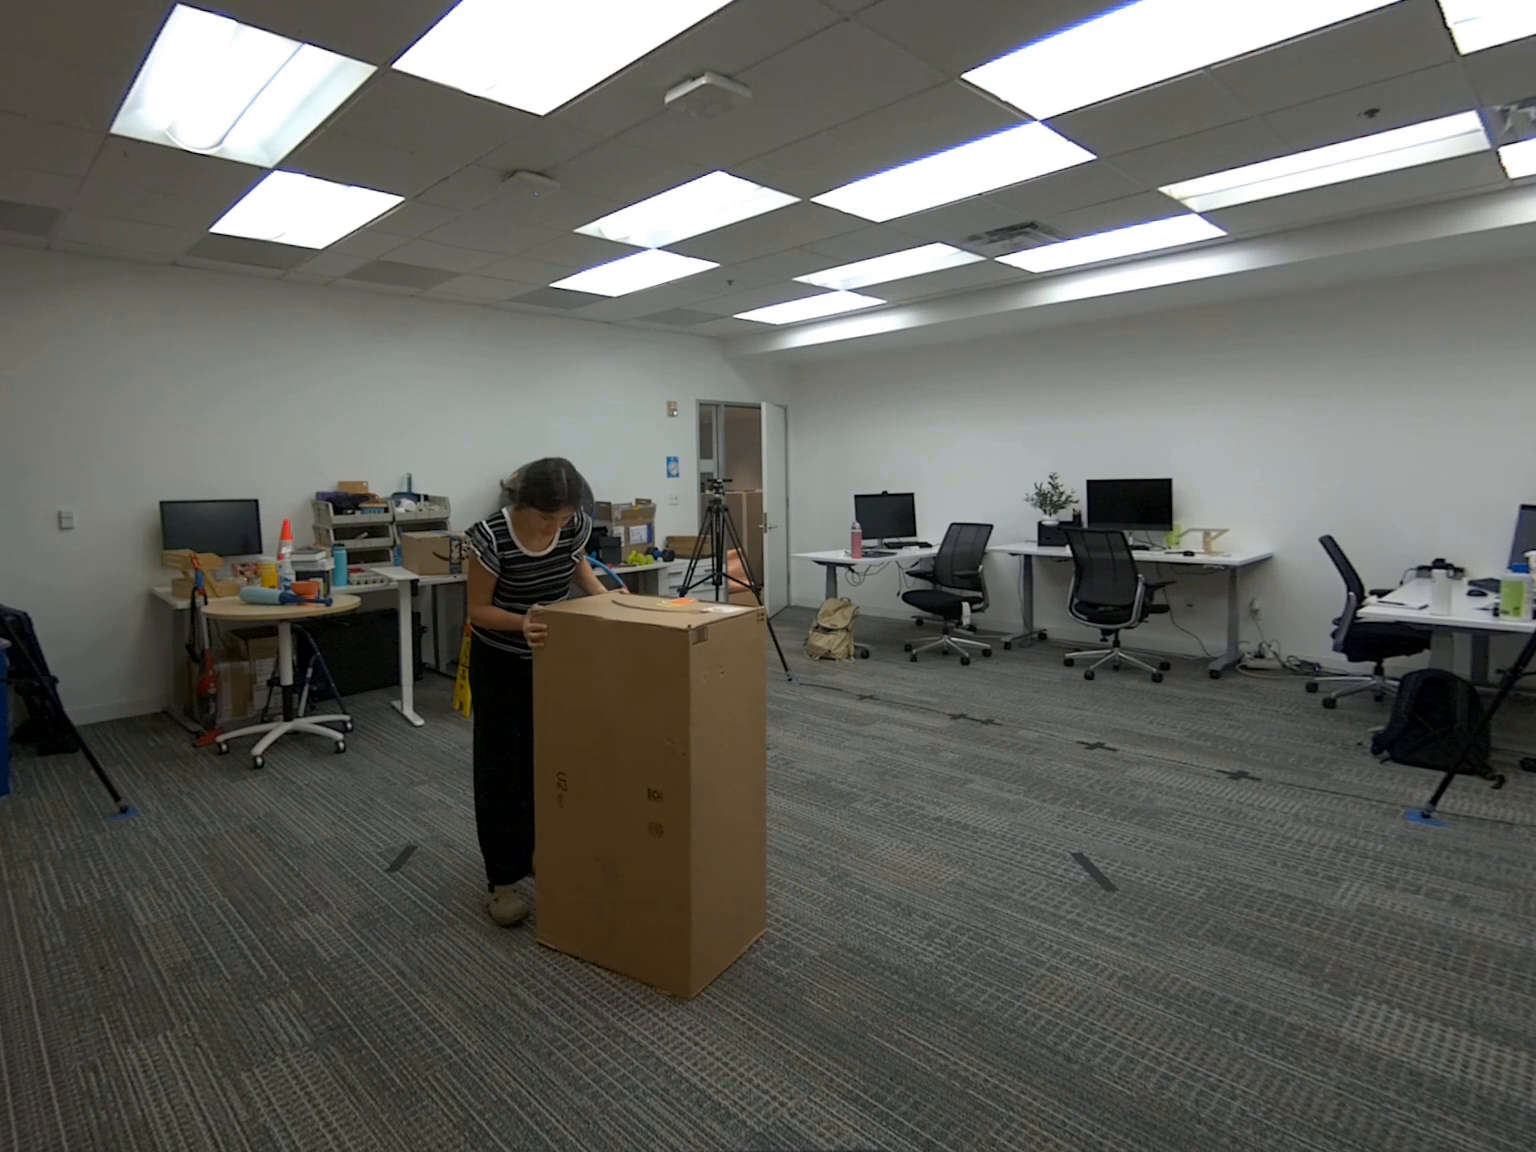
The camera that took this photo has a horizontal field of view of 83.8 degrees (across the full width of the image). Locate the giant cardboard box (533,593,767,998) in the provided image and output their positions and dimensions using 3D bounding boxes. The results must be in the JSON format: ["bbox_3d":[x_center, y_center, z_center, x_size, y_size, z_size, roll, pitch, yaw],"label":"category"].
[{"bbox_3d":[-0.355,0.606,2.590,0.593,1.022,0.416,3,5,32],"label":"giant cardboard box"}]
